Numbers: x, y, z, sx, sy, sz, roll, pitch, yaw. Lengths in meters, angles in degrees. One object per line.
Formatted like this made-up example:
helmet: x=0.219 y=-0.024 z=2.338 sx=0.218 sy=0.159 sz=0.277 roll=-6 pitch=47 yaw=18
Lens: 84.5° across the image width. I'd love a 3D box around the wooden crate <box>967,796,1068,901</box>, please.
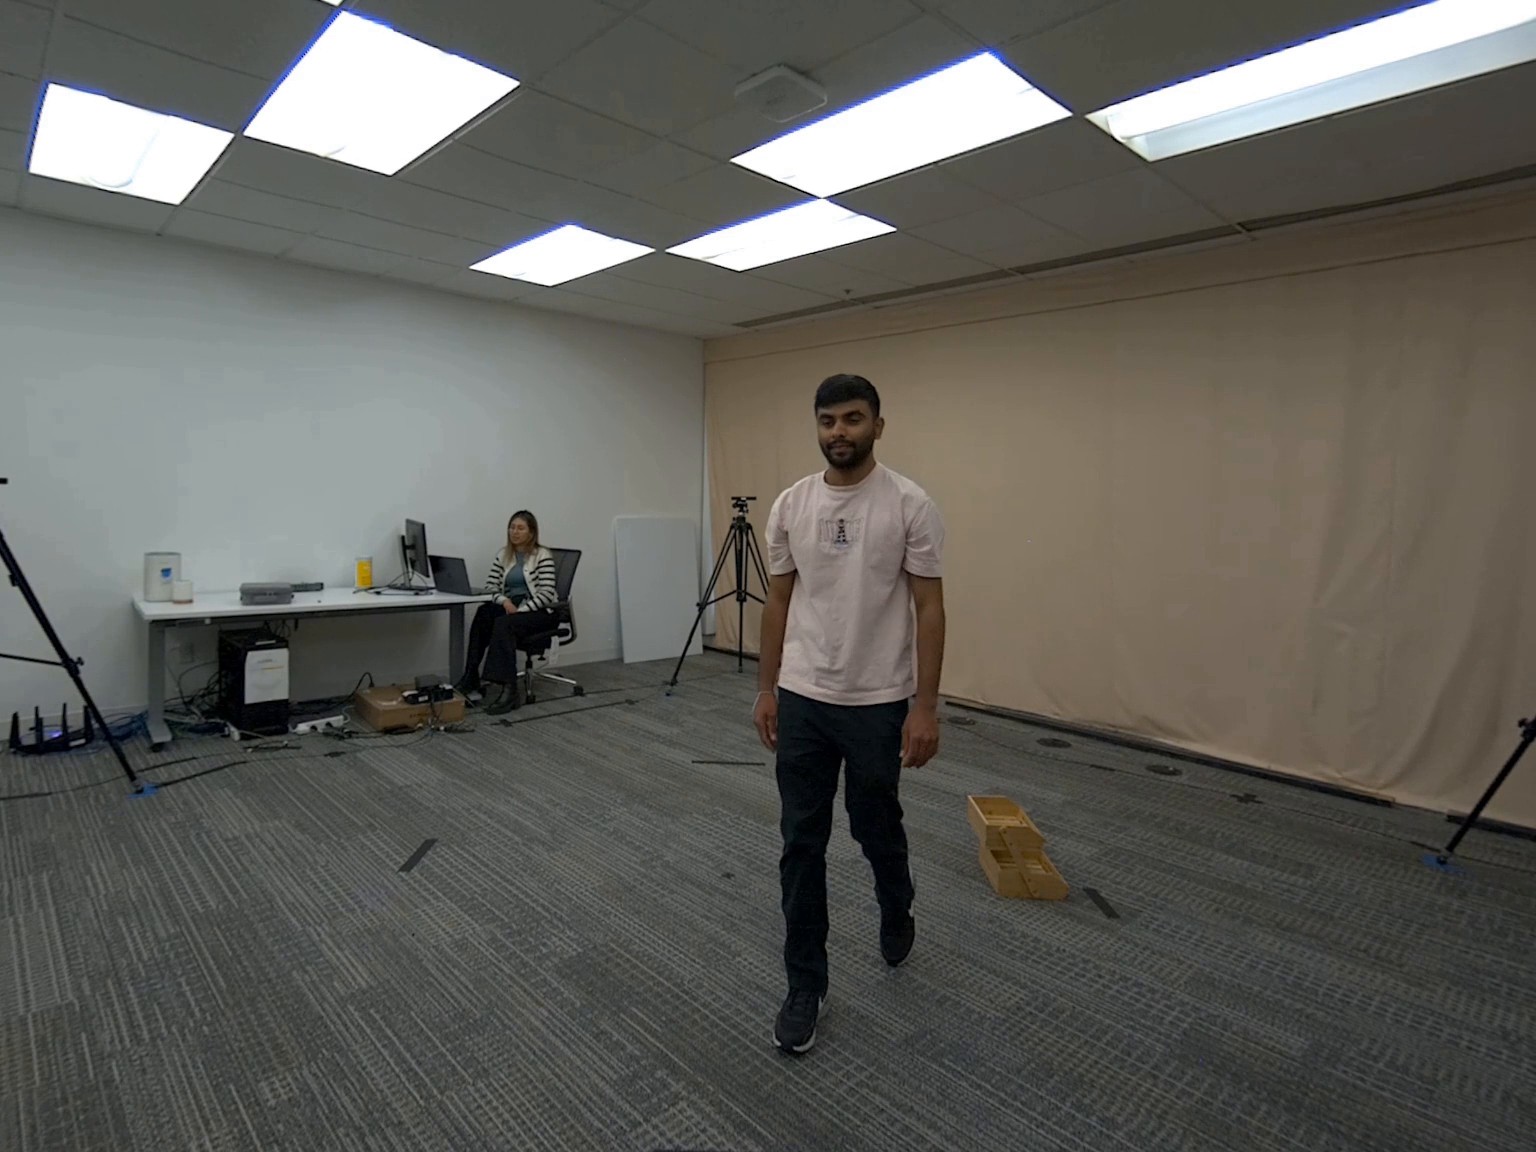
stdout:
wooden crate: x=0.923 y=1.001 z=3.136 sx=0.302 sy=0.273 sz=0.325 roll=3 pitch=4 yaw=1
